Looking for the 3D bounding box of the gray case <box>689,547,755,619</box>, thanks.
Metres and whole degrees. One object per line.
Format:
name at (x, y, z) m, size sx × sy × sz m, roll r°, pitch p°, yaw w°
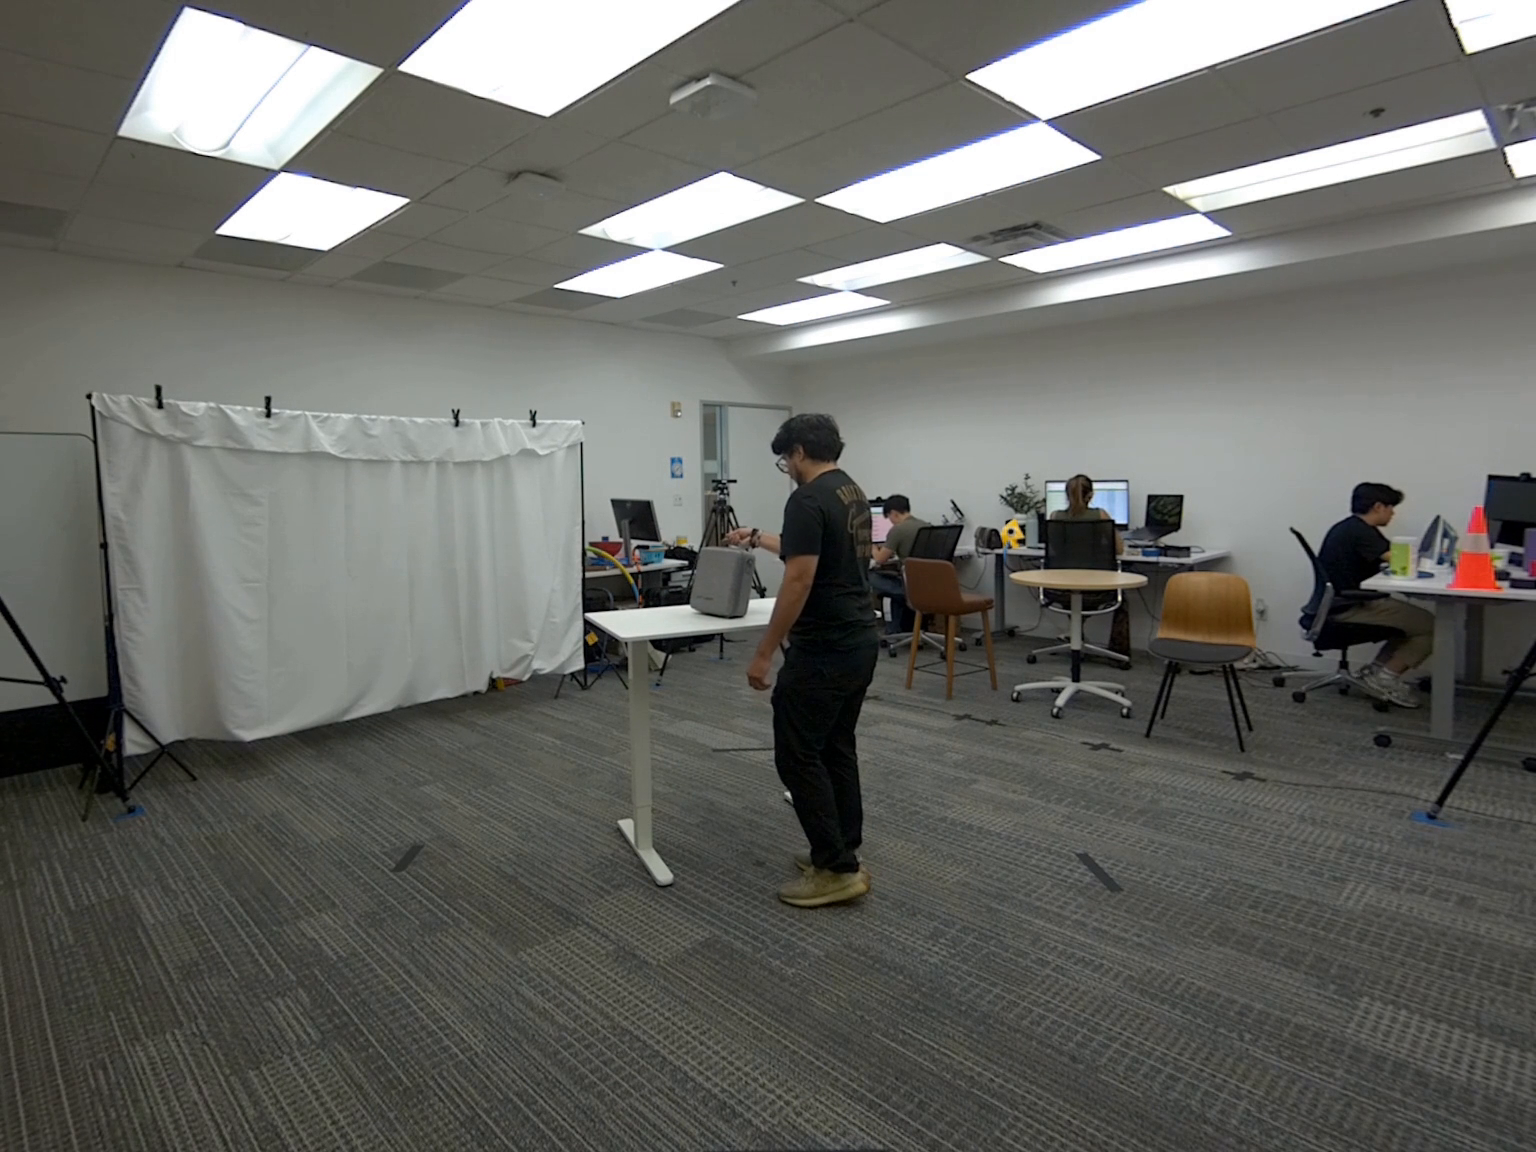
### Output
gray case at (-0.176, 0.019, 3.269) m, size 0.101 × 0.261 × 0.264 m, roll 12°, pitch -4°, yaw -38°
